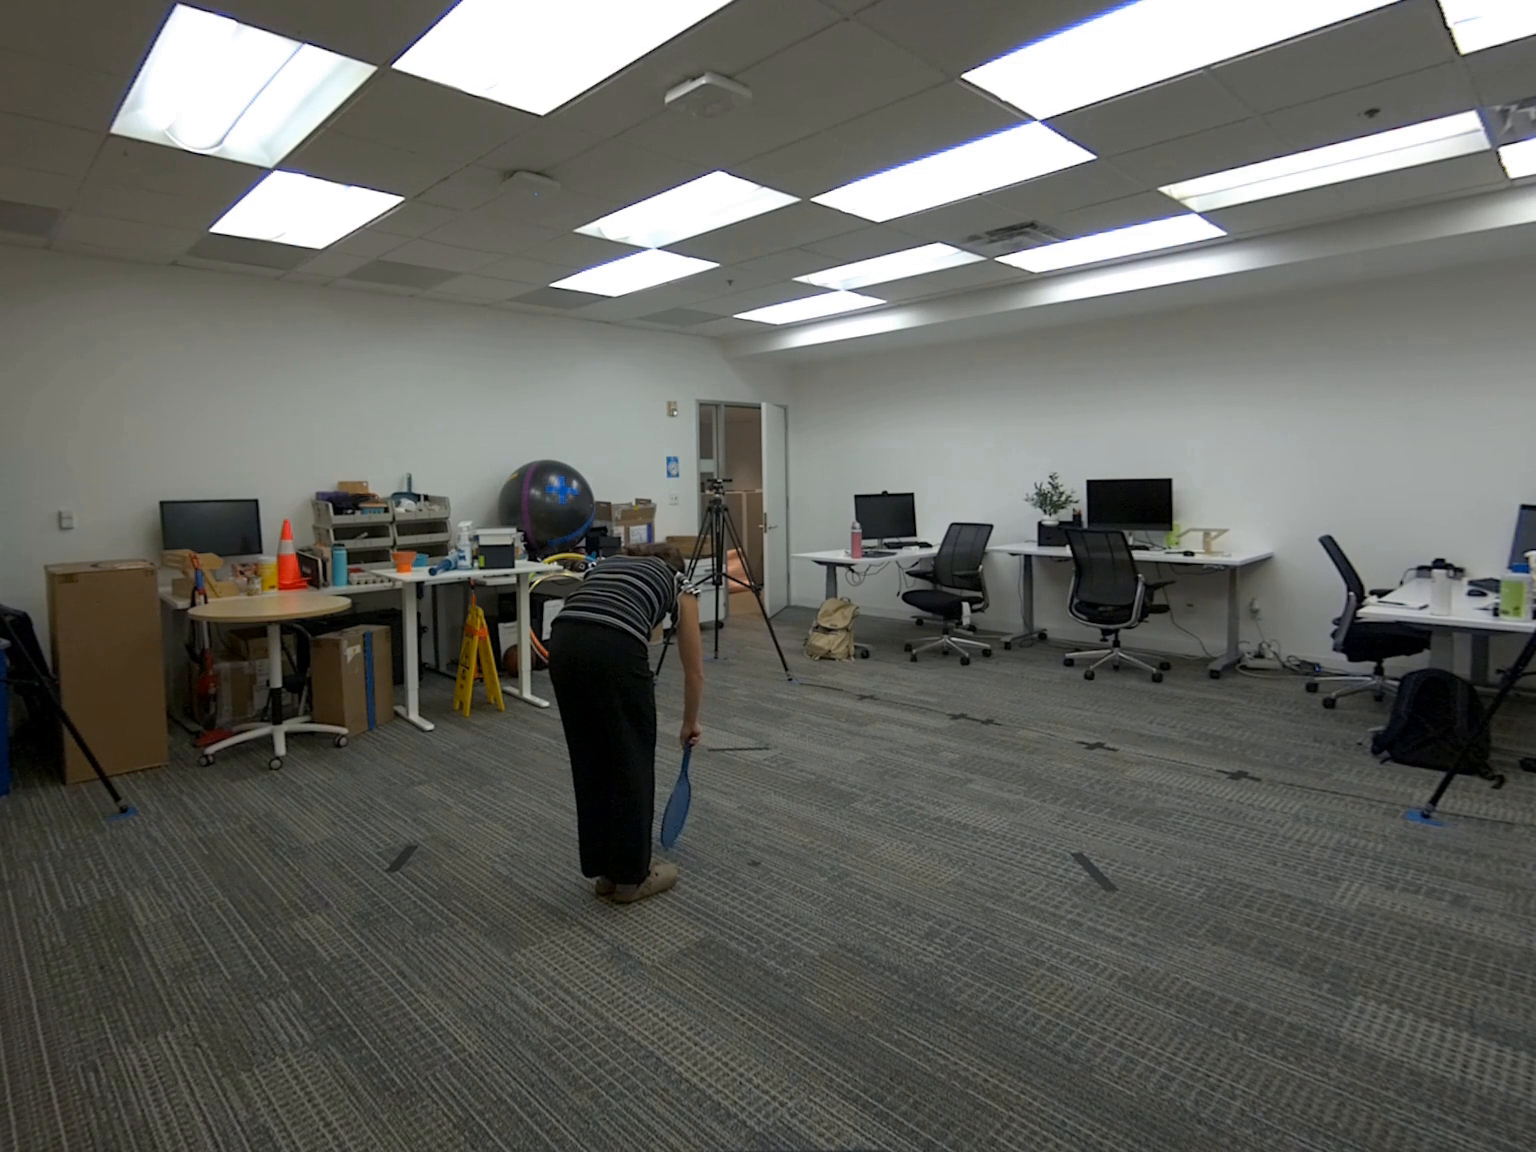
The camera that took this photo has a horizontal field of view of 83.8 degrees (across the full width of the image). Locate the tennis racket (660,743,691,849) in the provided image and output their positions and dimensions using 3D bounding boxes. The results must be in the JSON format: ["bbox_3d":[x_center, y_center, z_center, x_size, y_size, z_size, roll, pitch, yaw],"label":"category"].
[{"bbox_3d":[-0.335,0.821,3.205,0.217,0.434,0.031,8,-5,16],"label":"tennis racket"}]
